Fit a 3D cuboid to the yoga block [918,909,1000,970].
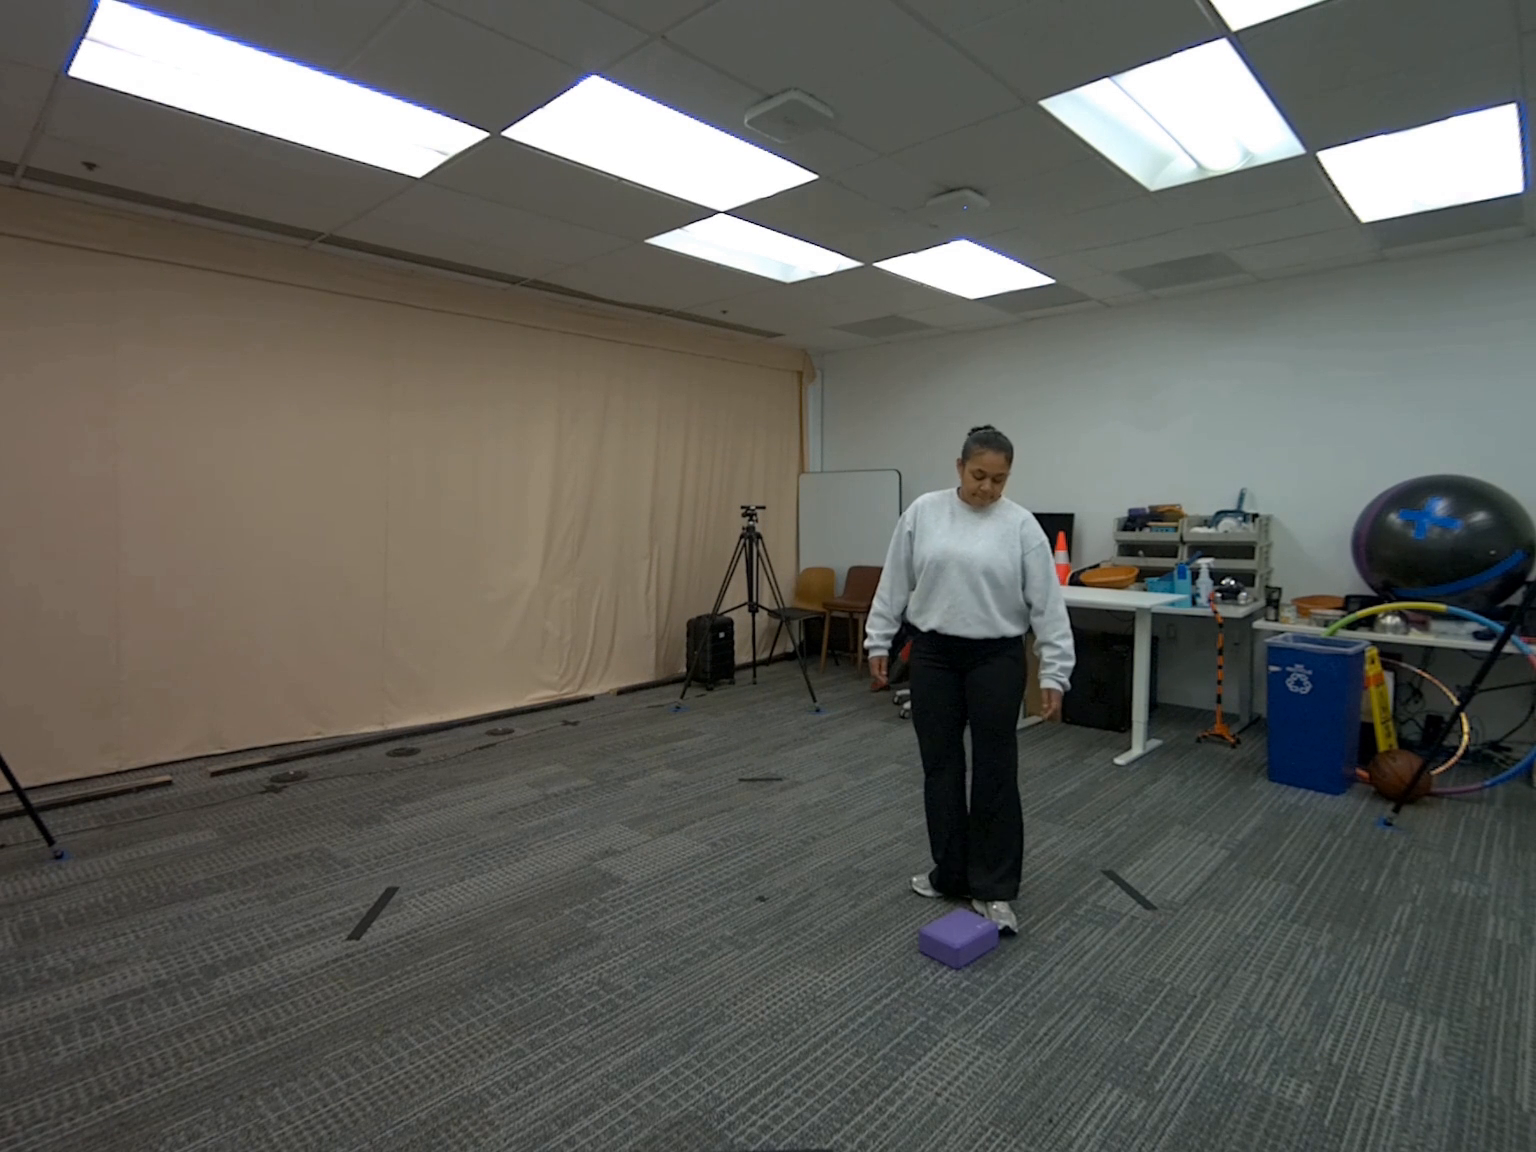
[{"bbox_3d":[0.601,1.130,2.631,0.222,0.076,0.154,-4,7,-41],"label":"yoga block"}]
